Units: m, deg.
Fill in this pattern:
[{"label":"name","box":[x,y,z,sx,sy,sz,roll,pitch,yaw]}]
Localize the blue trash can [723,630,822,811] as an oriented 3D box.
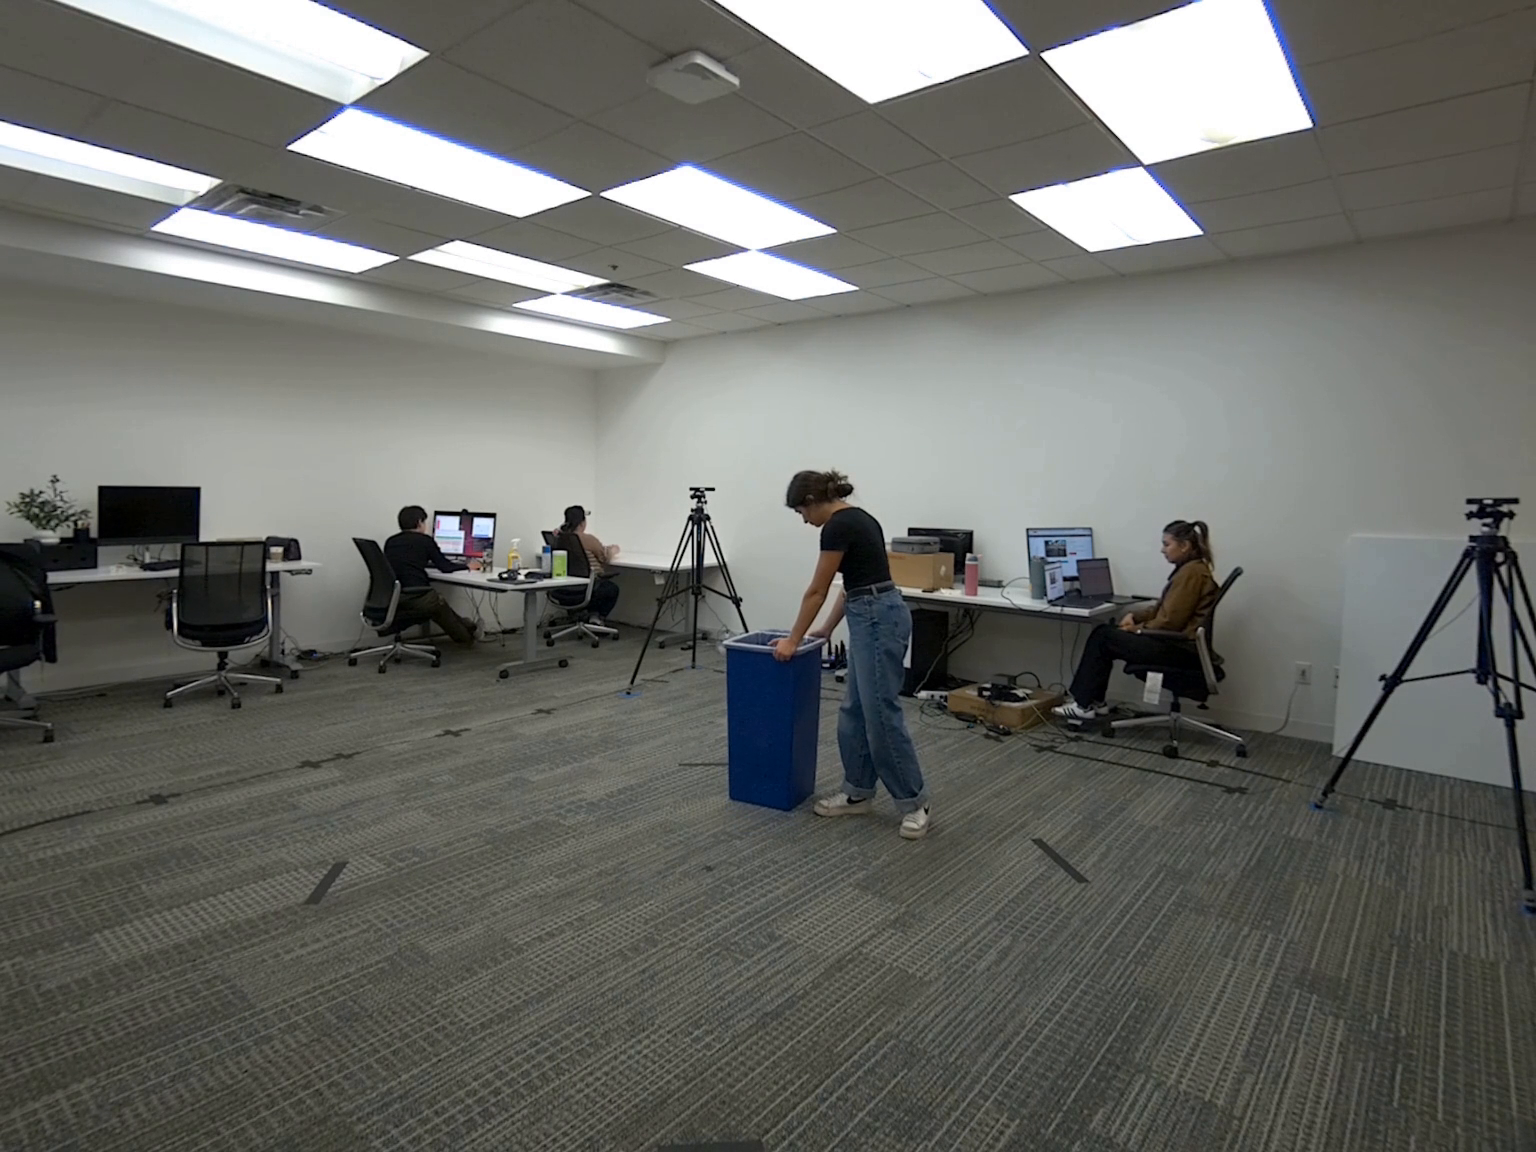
[{"label":"blue trash can","box":[0.019,0.639,3.855,0.388,0.712,0.365,2,3,27]}]
